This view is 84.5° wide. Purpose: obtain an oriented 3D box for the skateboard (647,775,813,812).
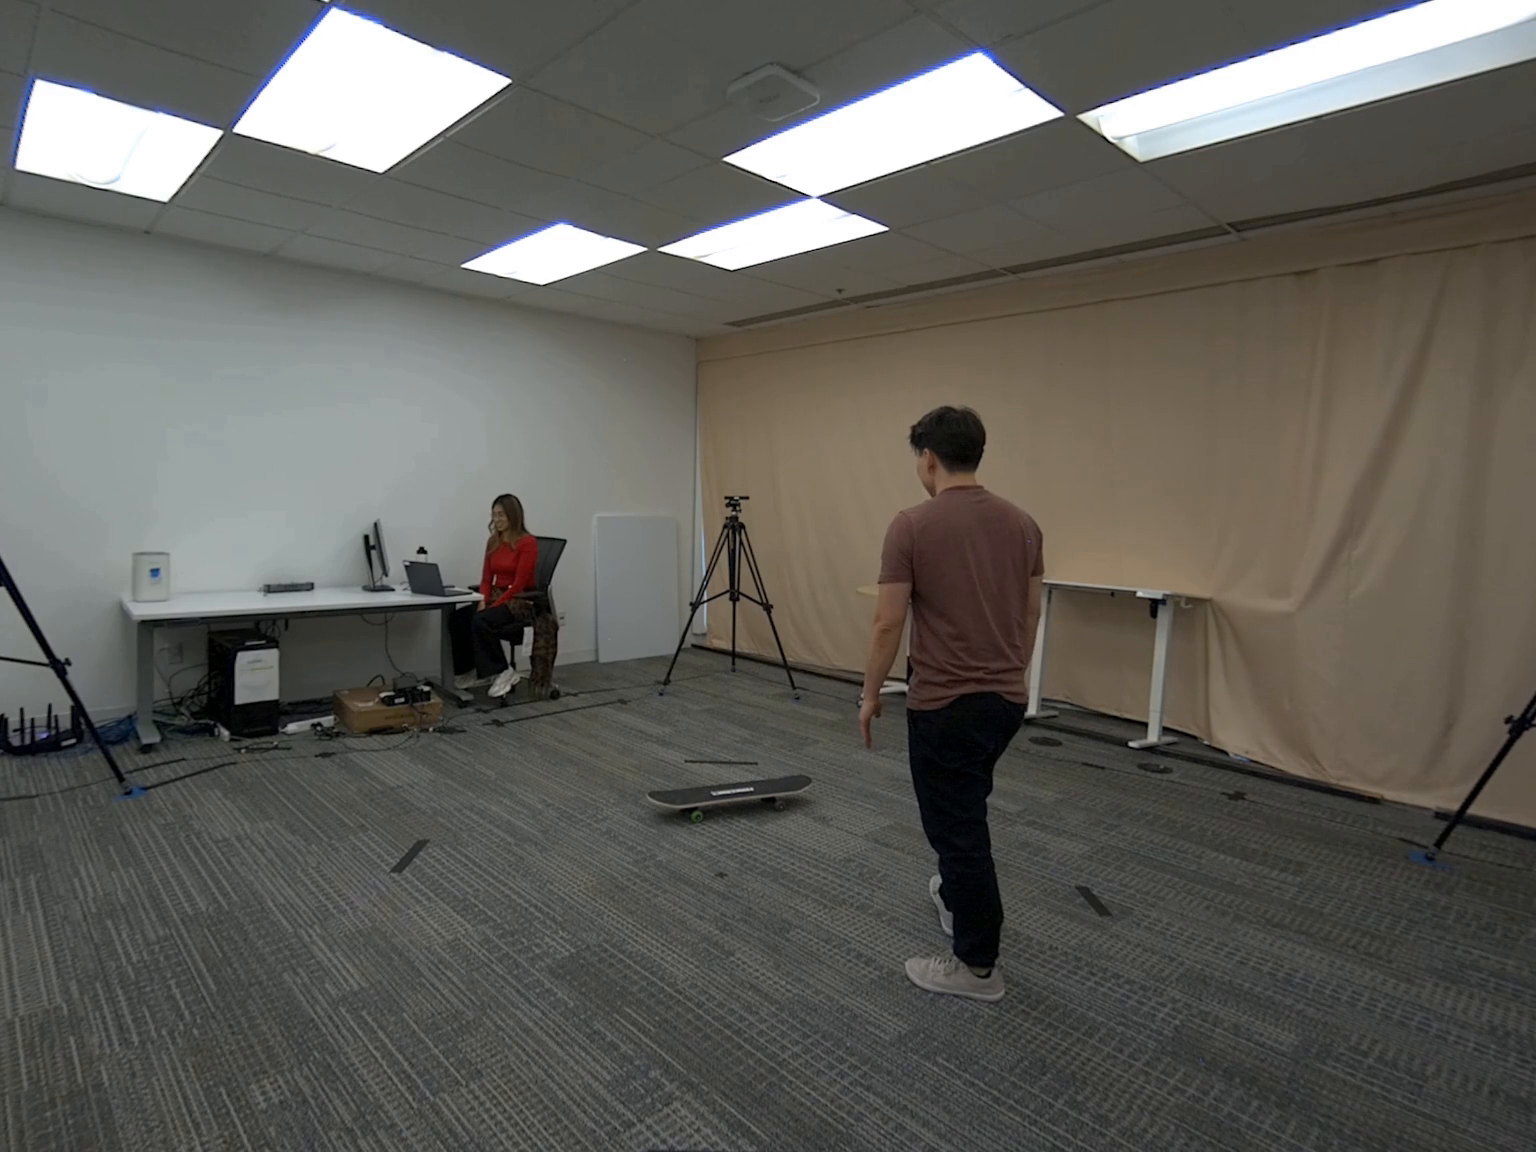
[{"bbox_3d":[-0.168,0.986,3.751,0.772,0.110,0.197,-1,5,-24],"label":"skateboard"}]
